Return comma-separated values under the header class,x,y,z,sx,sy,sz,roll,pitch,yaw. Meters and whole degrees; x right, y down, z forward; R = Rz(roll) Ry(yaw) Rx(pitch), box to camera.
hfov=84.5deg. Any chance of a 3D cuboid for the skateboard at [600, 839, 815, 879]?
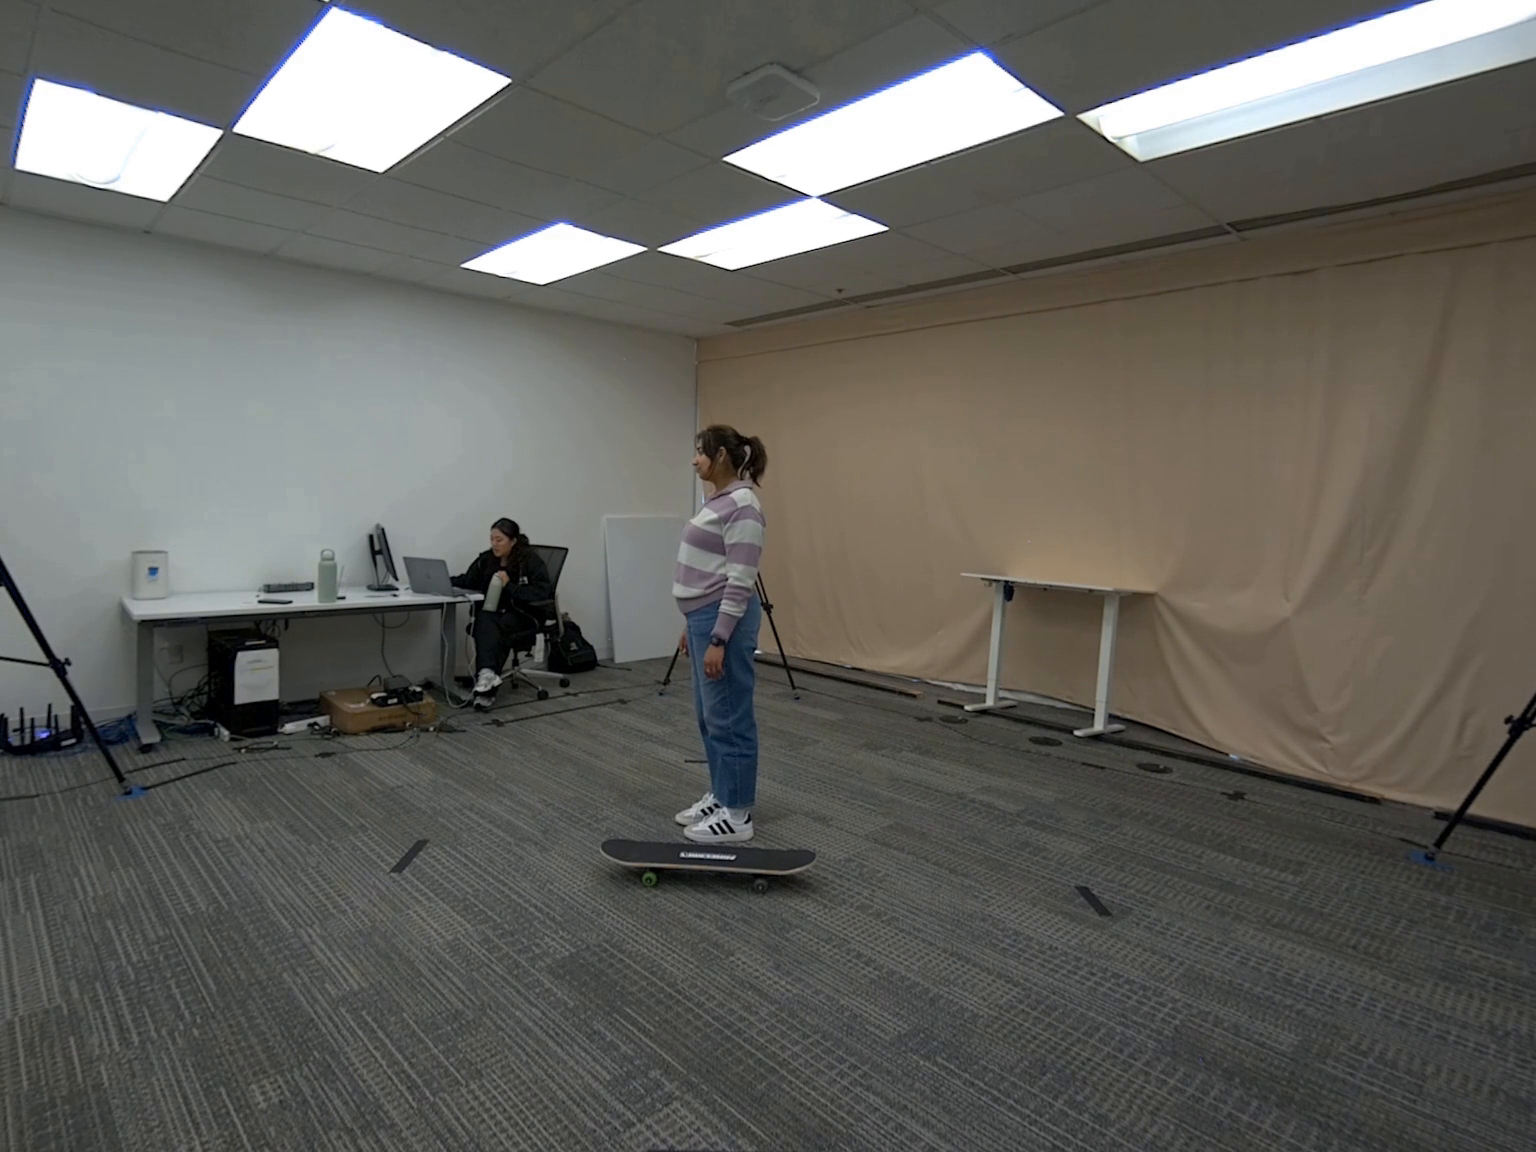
class,x,y,z,sx,sy,sz,roll,pitch,yaw
skateboard,-0.227,1.045,3.059,0.789,0.110,0.193,1,4,5
